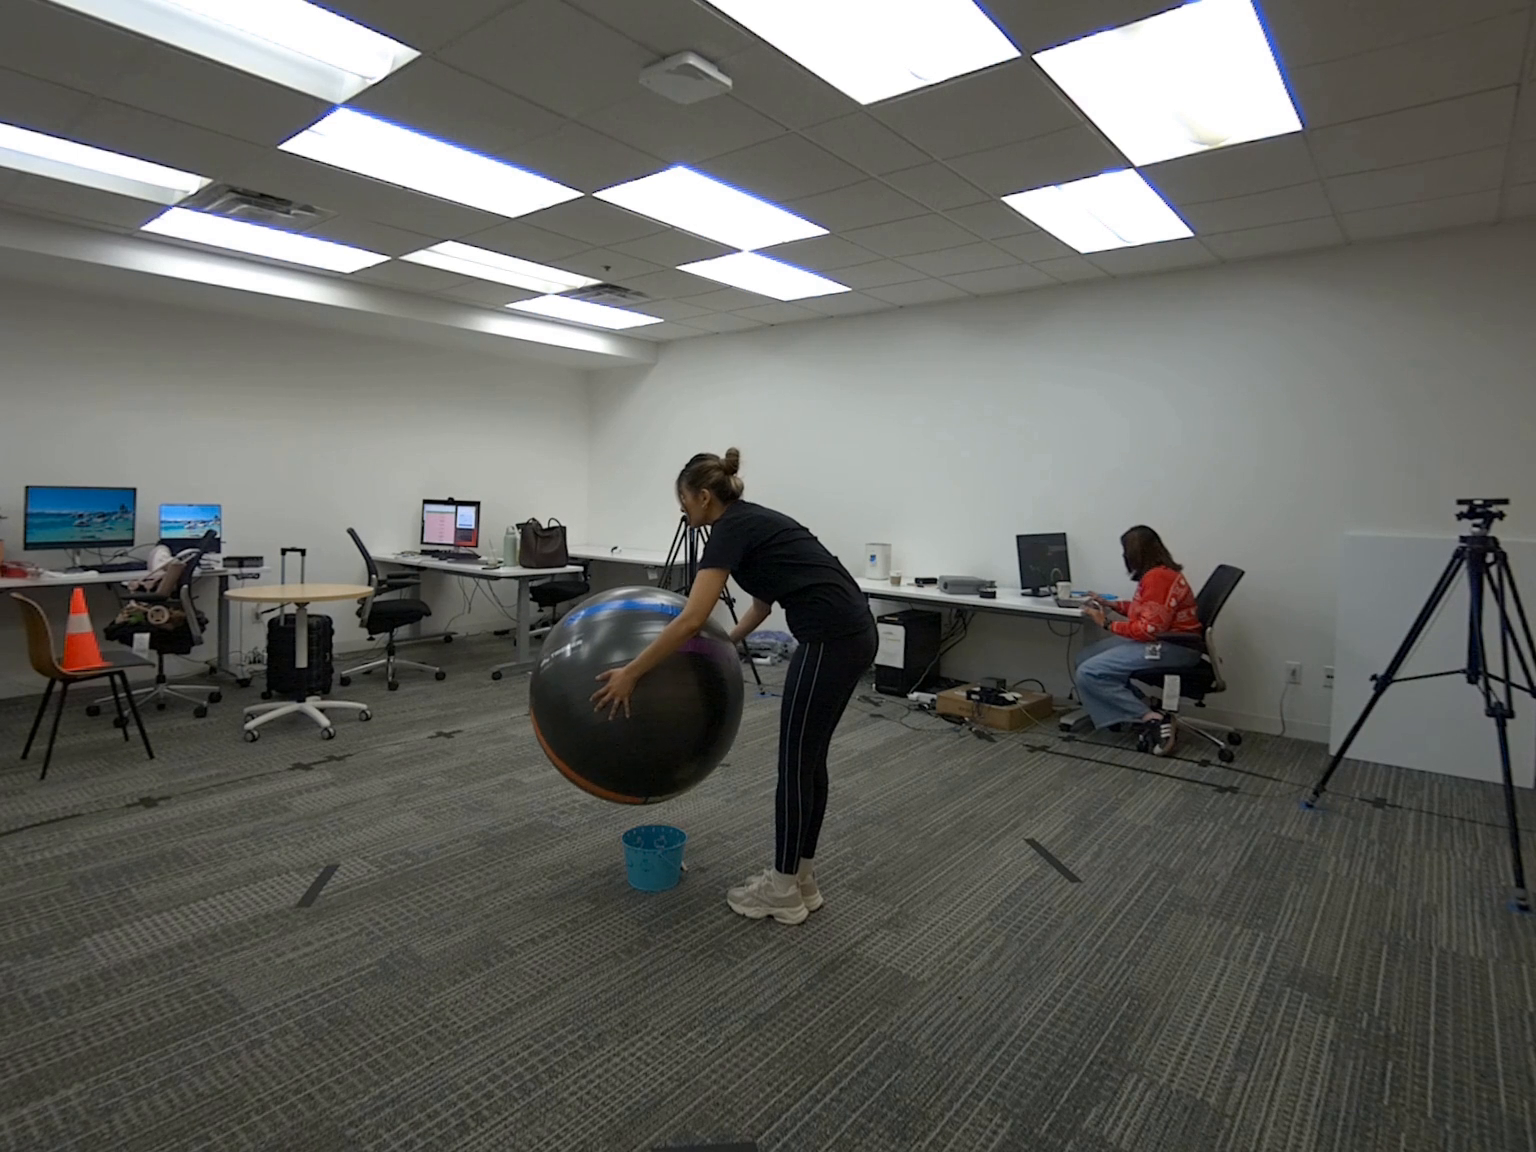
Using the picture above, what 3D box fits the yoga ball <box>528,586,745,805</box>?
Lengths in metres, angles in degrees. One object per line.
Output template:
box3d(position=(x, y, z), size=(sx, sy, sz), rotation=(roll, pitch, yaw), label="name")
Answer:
box3d(position=(-0.477, 0.416, 3.024), size=(0.757, 0.755, 0.762), rotation=(1, 4, -2), label="yoga ball")
